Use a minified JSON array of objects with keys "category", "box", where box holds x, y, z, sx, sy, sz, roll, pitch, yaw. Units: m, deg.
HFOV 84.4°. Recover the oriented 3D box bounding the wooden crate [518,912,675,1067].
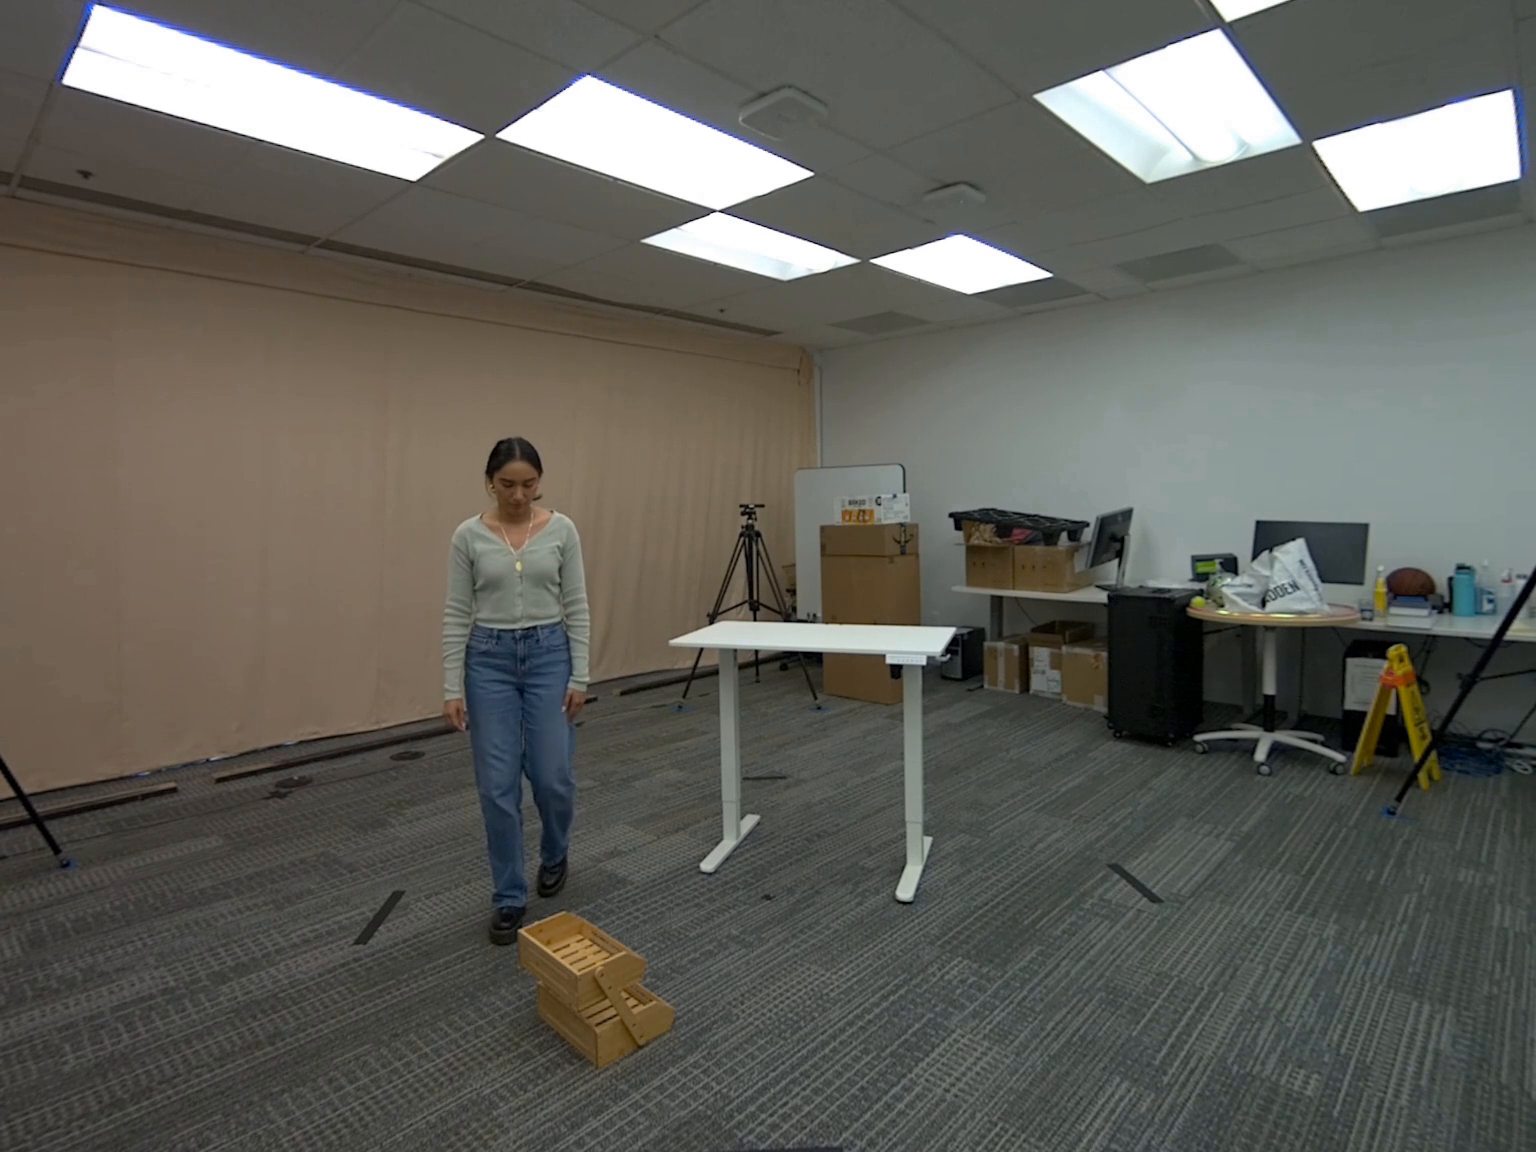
[{"category":"wooden crate","box":[-0.458,1.077,2.258,0.293,0.272,0.335,-6,6,-44]}]
